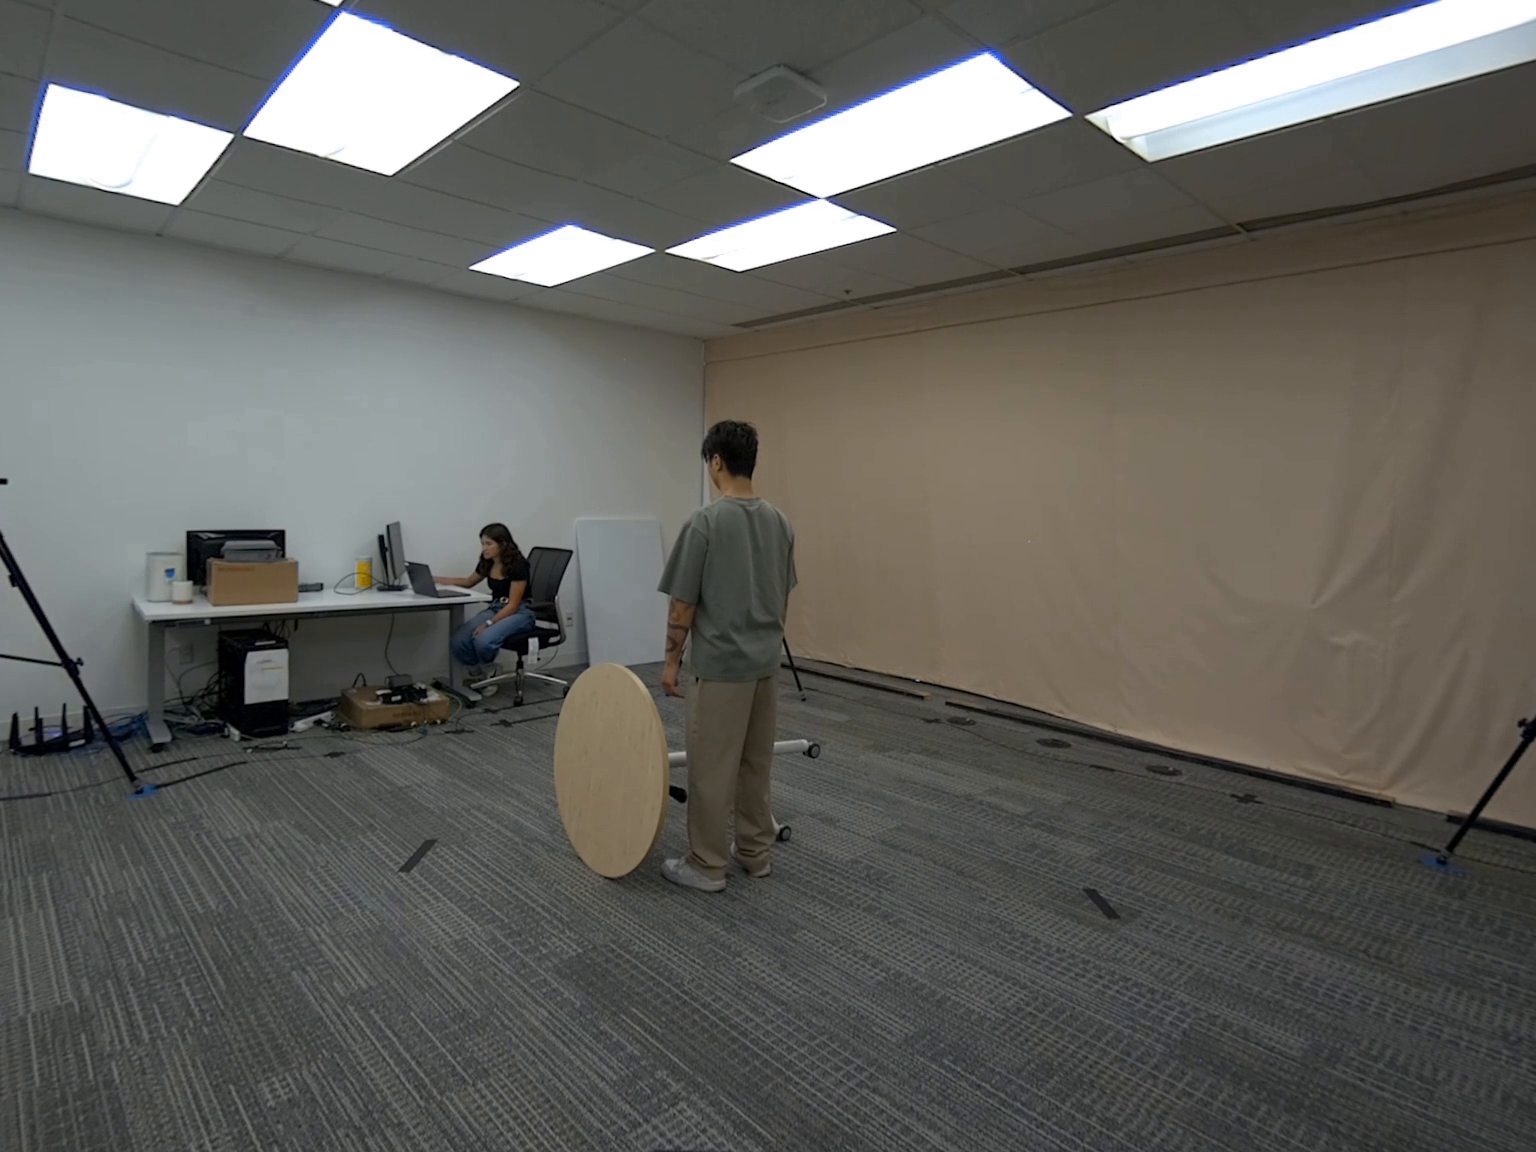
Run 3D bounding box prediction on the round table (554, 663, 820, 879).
[{"bbox_3d":[-0.327,0.736,3.383,0.766,0.785,0.805,6,0,-41],"label":"round table"}]
